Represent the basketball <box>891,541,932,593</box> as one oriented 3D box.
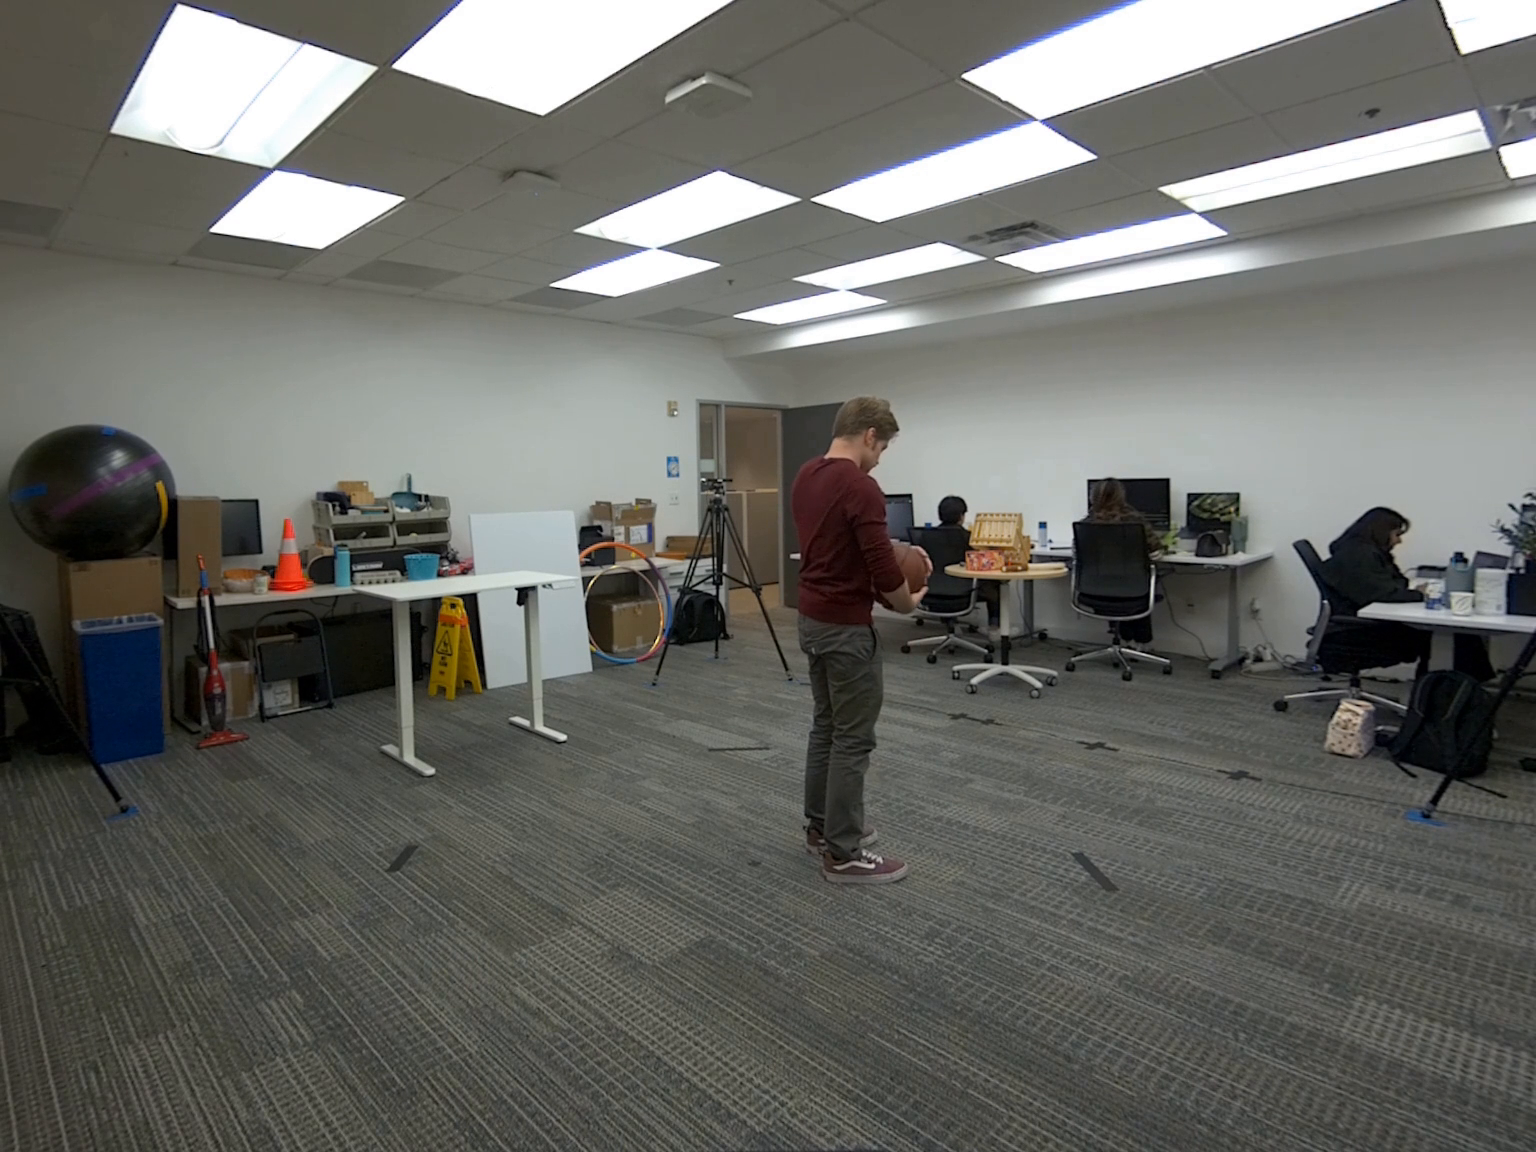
[{"bbox_3d":[0.457,-0.007,3.119,0.236,0.235,0.237,-1,5,-2],"label":"basketball"}]
